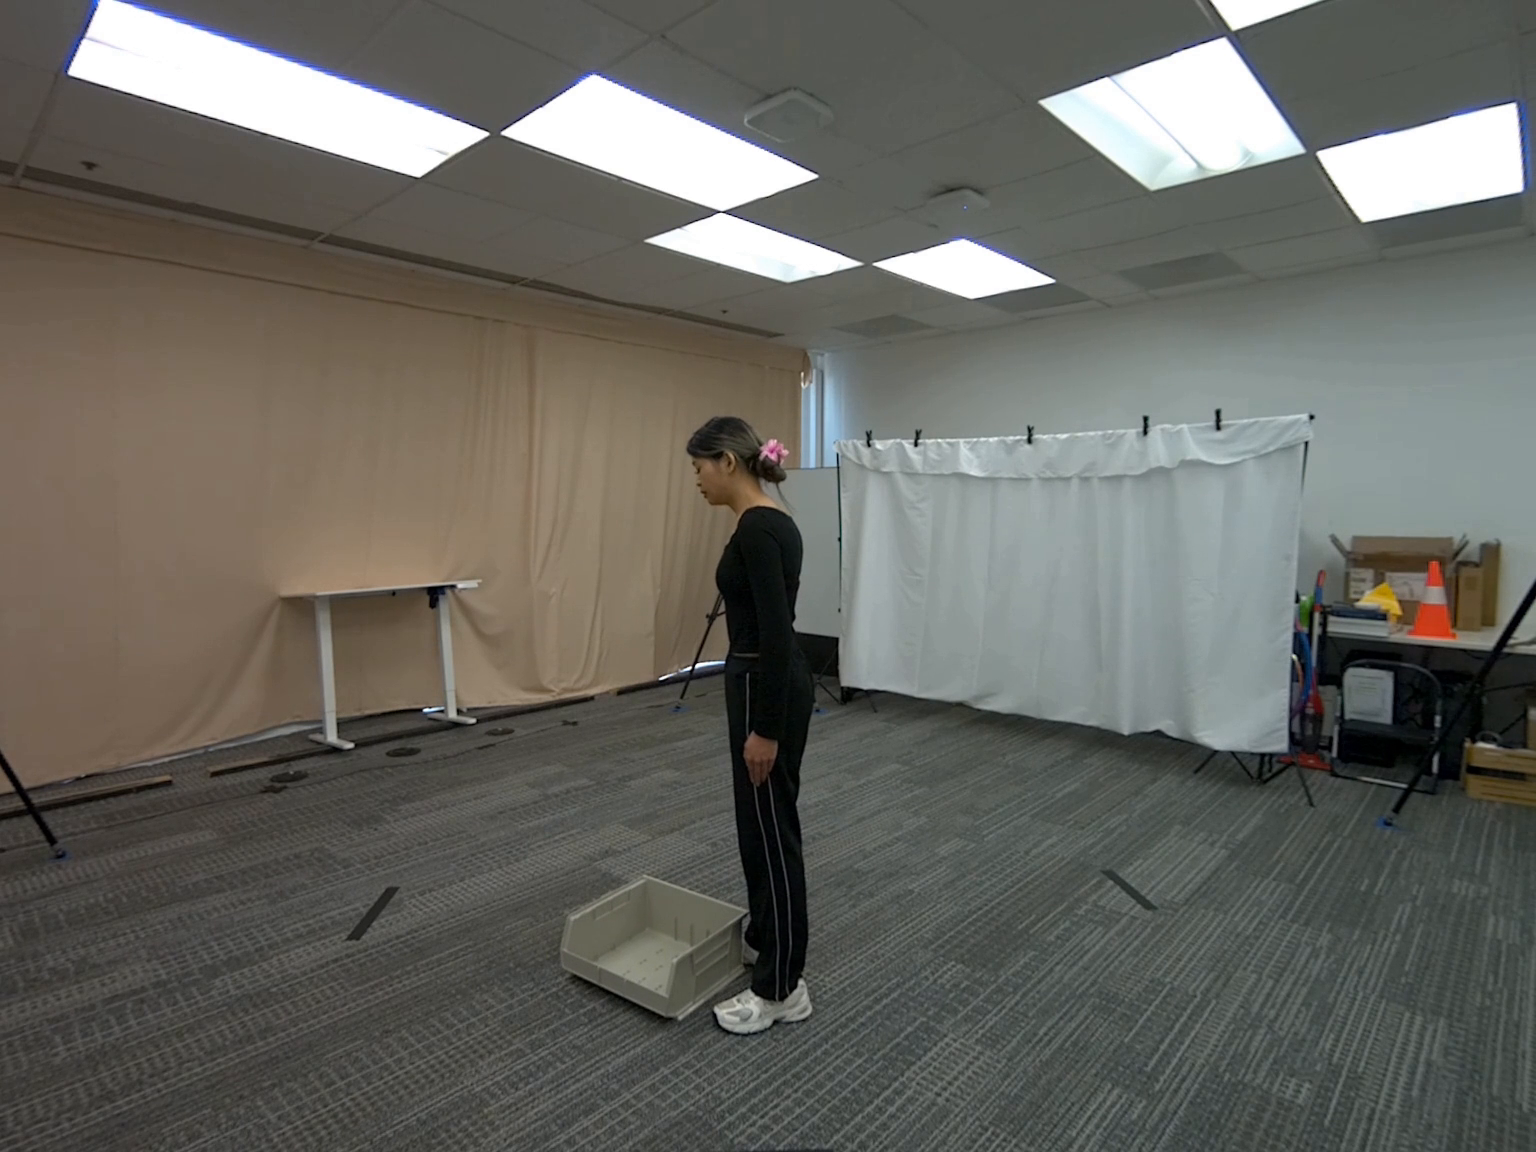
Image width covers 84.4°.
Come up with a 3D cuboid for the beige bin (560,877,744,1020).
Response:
[{"bbox_3d":[-0.332,1.098,2.500,0.435,0.189,0.366,2,4,34],"label":"beige bin"}]
